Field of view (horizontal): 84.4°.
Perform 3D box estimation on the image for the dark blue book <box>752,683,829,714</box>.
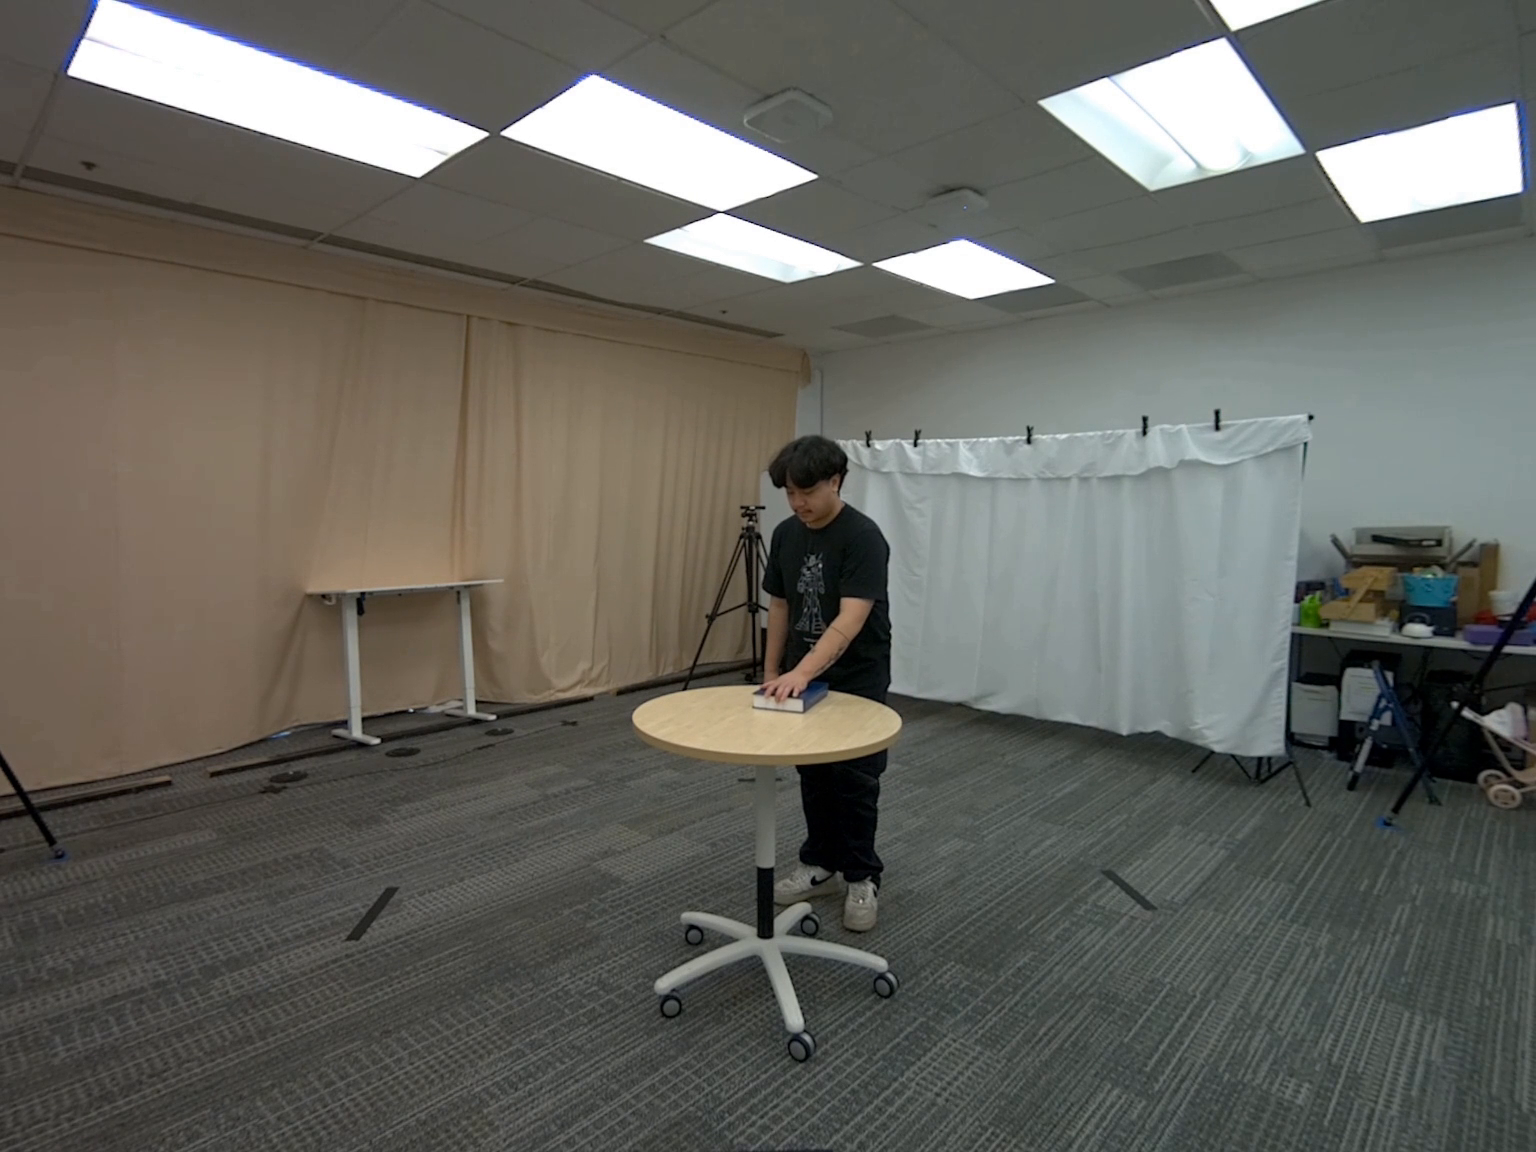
[{"bbox_3d":[0.068,0.364,2.576,0.167,0.045,0.240,3,6,21],"label":"dark blue book"}]
